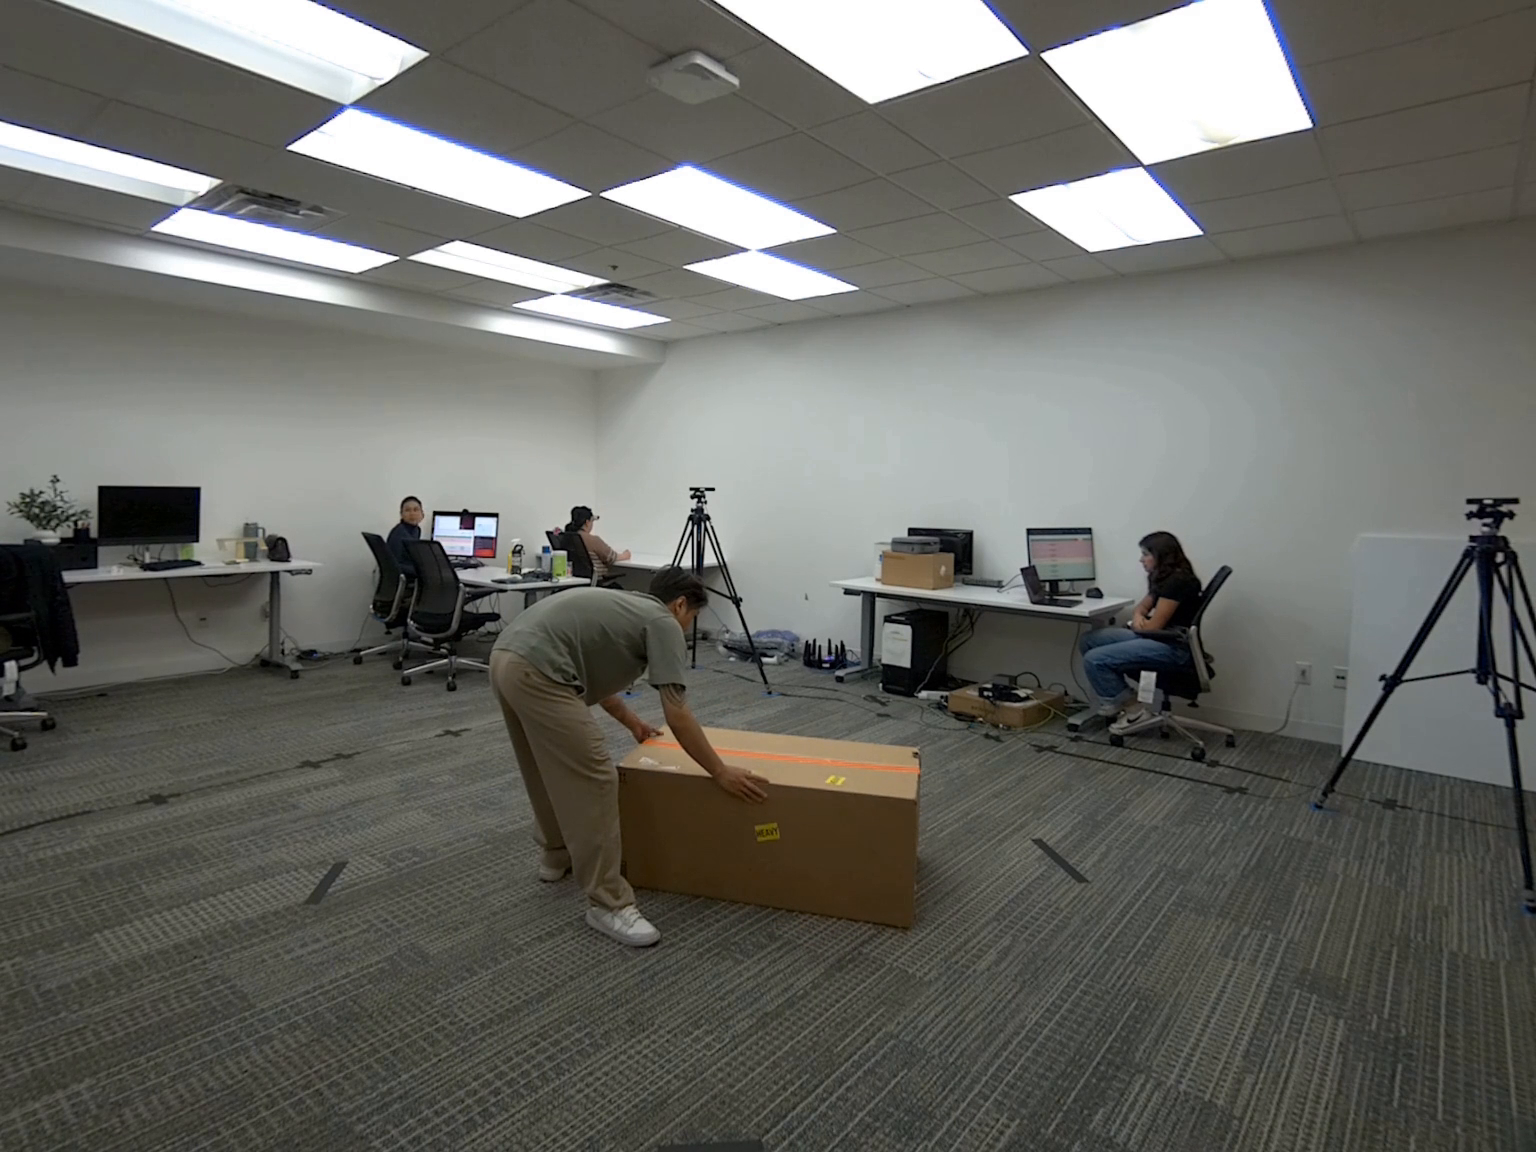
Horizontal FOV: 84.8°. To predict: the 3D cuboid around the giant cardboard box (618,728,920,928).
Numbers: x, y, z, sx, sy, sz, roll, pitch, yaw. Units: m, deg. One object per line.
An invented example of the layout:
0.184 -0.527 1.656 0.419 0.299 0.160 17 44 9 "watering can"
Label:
0.018 0.854 3.097 1.043 0.425 0.570 2 4 15 "giant cardboard box"
